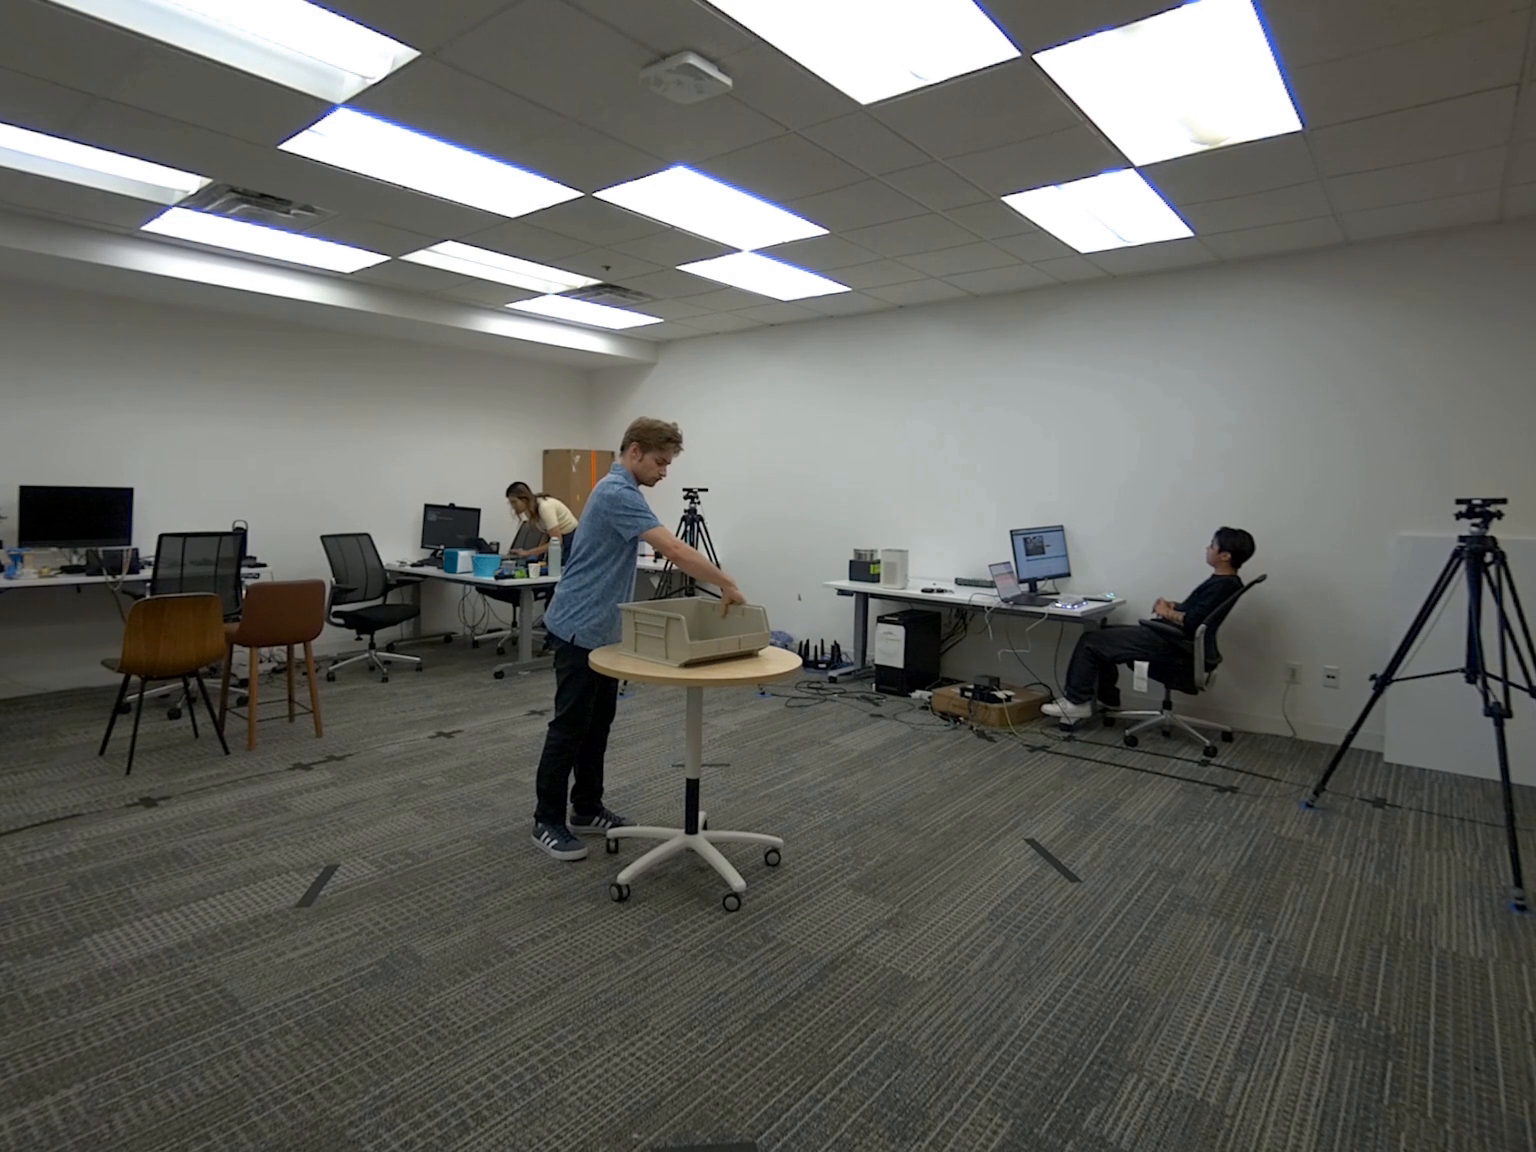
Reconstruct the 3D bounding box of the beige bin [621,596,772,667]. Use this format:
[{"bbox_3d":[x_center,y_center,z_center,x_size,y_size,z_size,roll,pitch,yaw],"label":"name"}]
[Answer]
[{"bbox_3d":[-0.279,0.196,3.084,0.390,0.188,0.409,5,6,43],"label":"beige bin"}]
